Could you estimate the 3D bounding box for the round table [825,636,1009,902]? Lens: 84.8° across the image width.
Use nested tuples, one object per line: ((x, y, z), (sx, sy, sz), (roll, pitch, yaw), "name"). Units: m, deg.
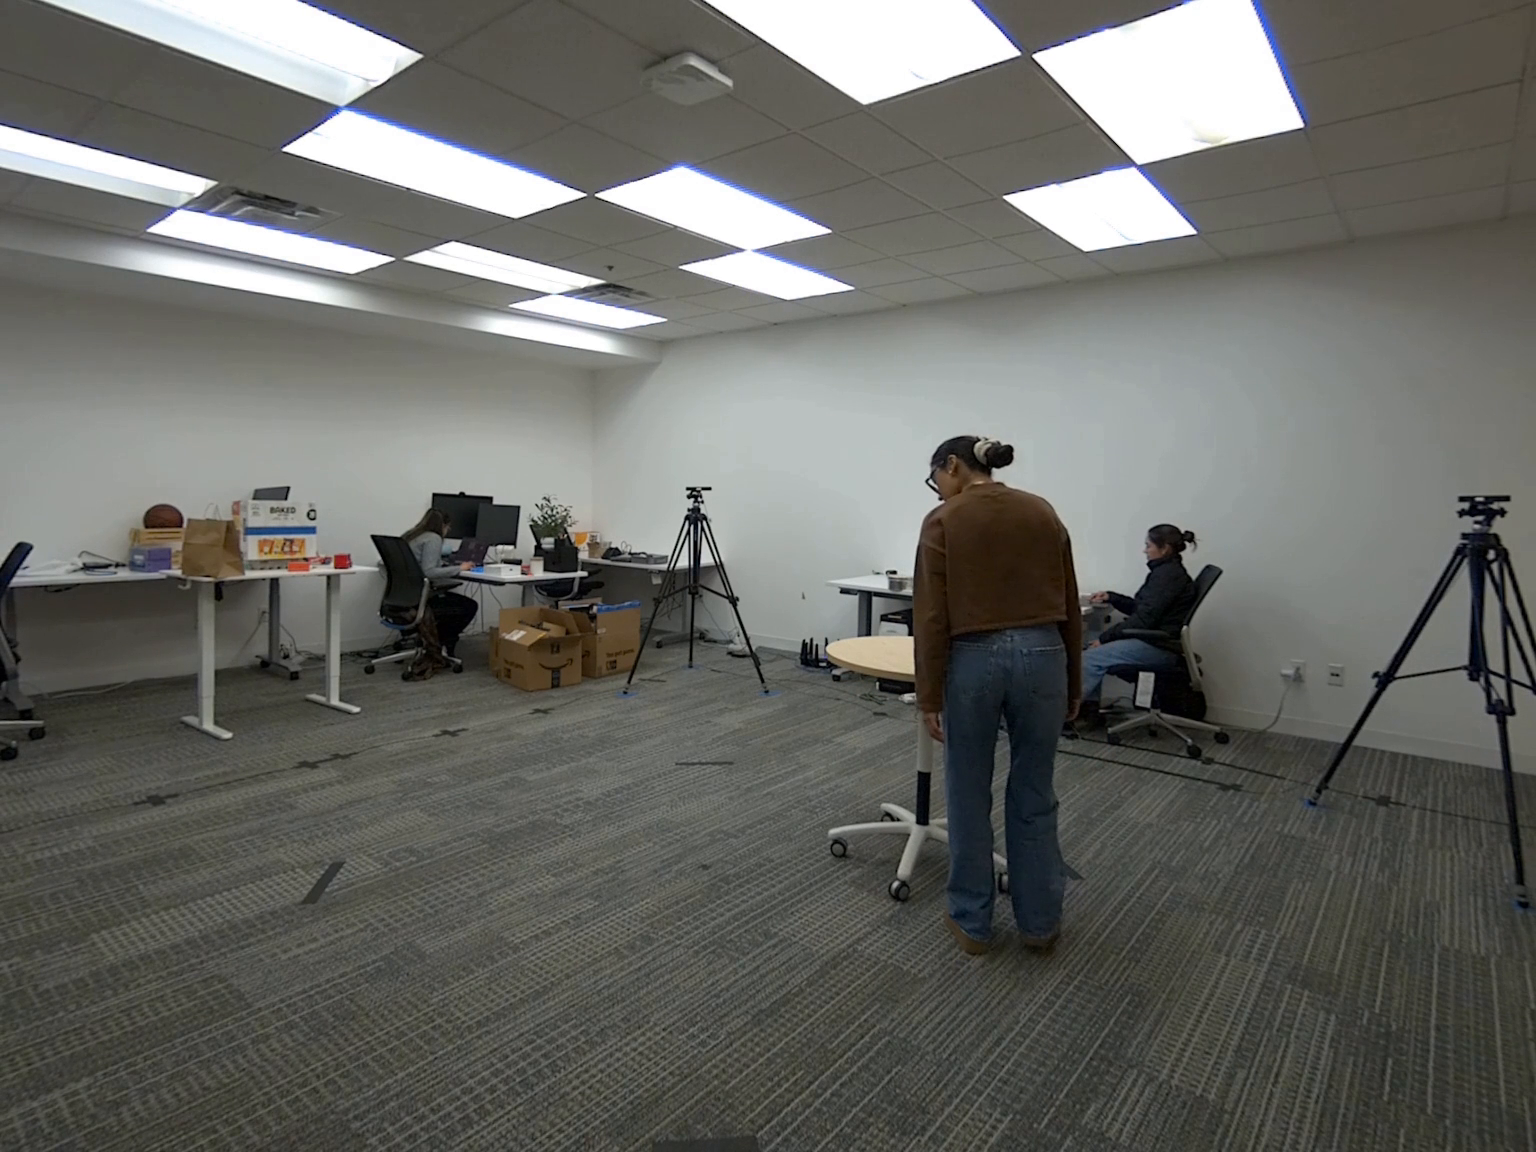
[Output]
((0.580, 0.683, 3.202), (0.763, 0.791, 0.768), (2, 4, -2), "round table")
